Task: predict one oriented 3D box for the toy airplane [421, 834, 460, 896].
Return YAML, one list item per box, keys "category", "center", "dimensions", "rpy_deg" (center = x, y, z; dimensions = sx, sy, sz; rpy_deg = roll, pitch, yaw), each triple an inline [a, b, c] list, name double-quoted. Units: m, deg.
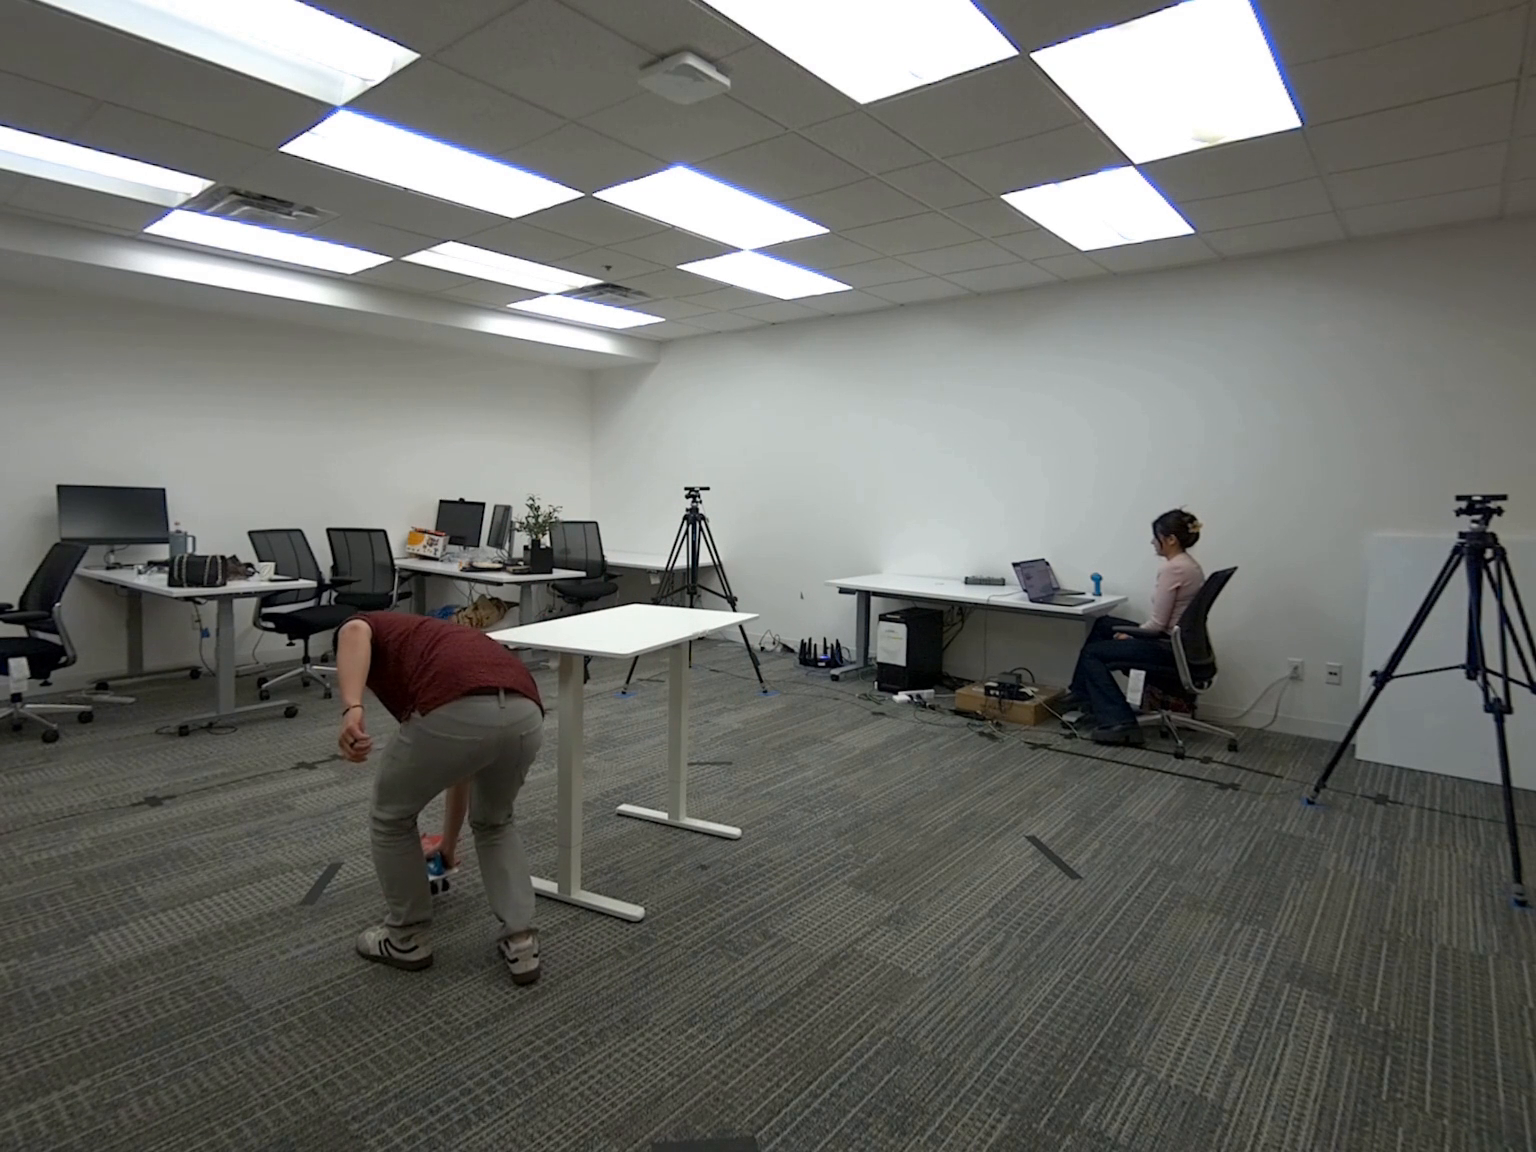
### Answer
- category: "toy airplane"
  center: [-1.126, 0.942, 2.811]
  dimensions: [0.264, 0.158, 0.244]
  rpy_deg: [-11, -6, 23]
